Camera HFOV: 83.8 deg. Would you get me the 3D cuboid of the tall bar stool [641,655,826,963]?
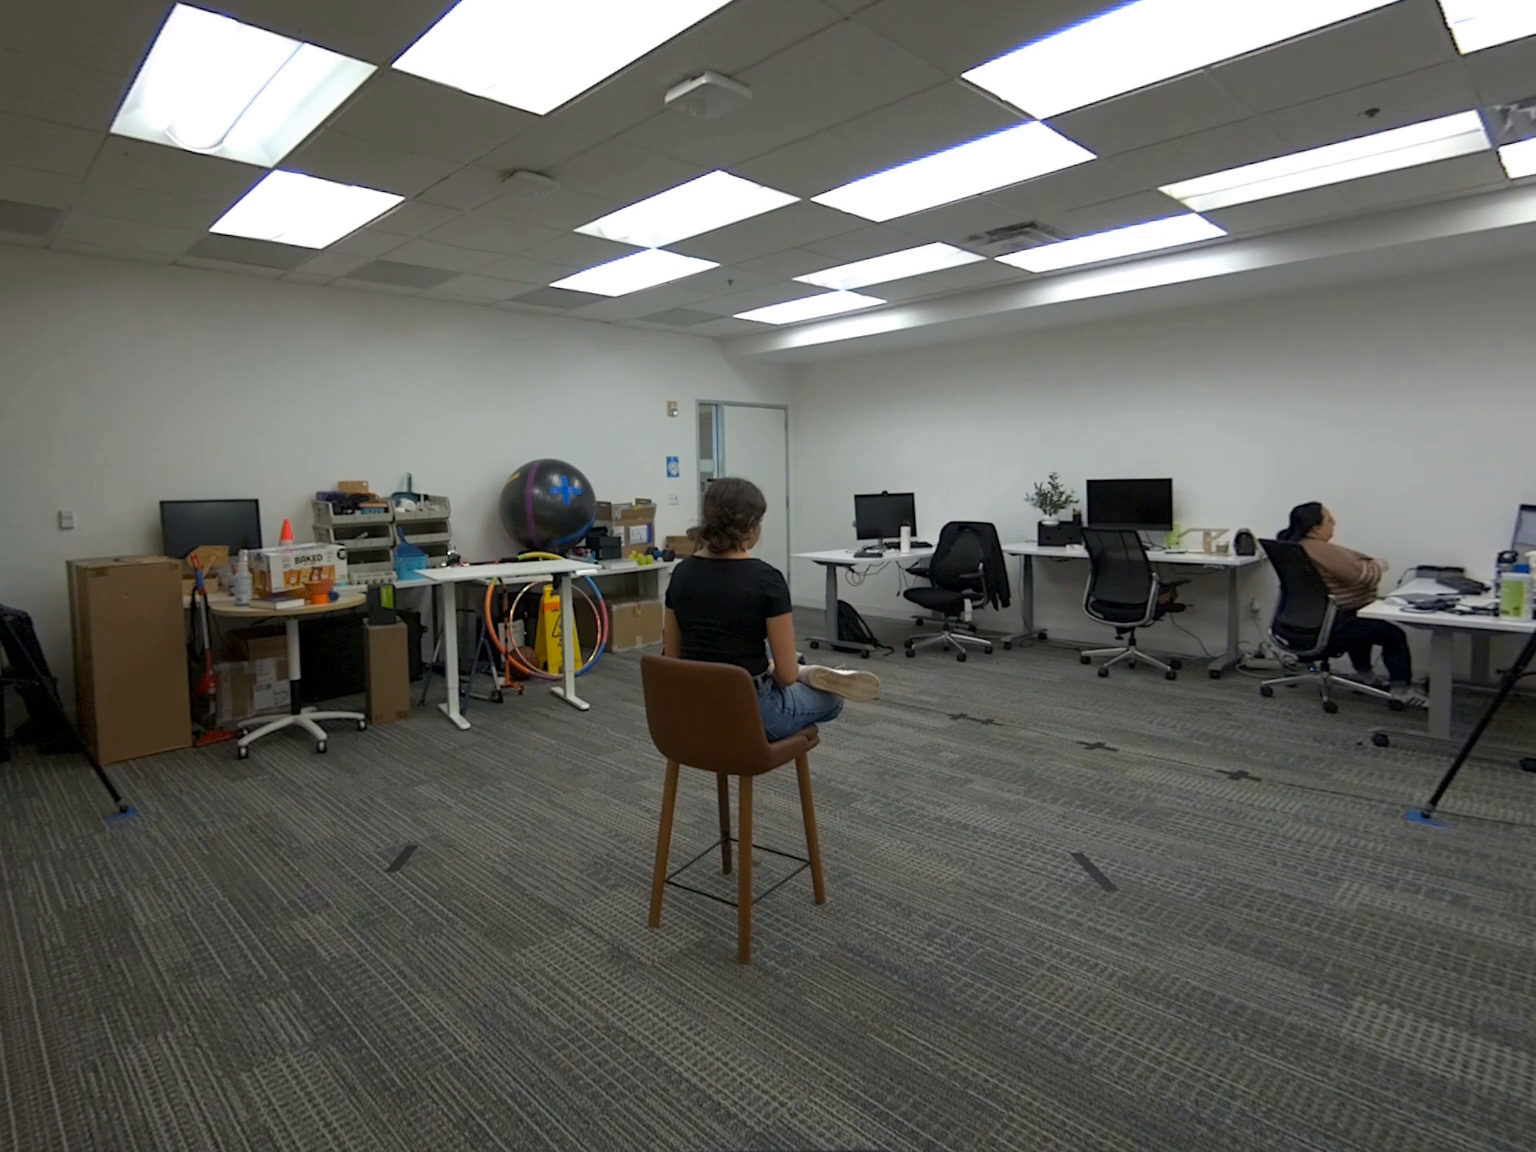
[{"bbox_3d":[-0.113,0.657,2.718,0.469,0.885,0.457,2,7,35],"label":"tall bar stool"}]
